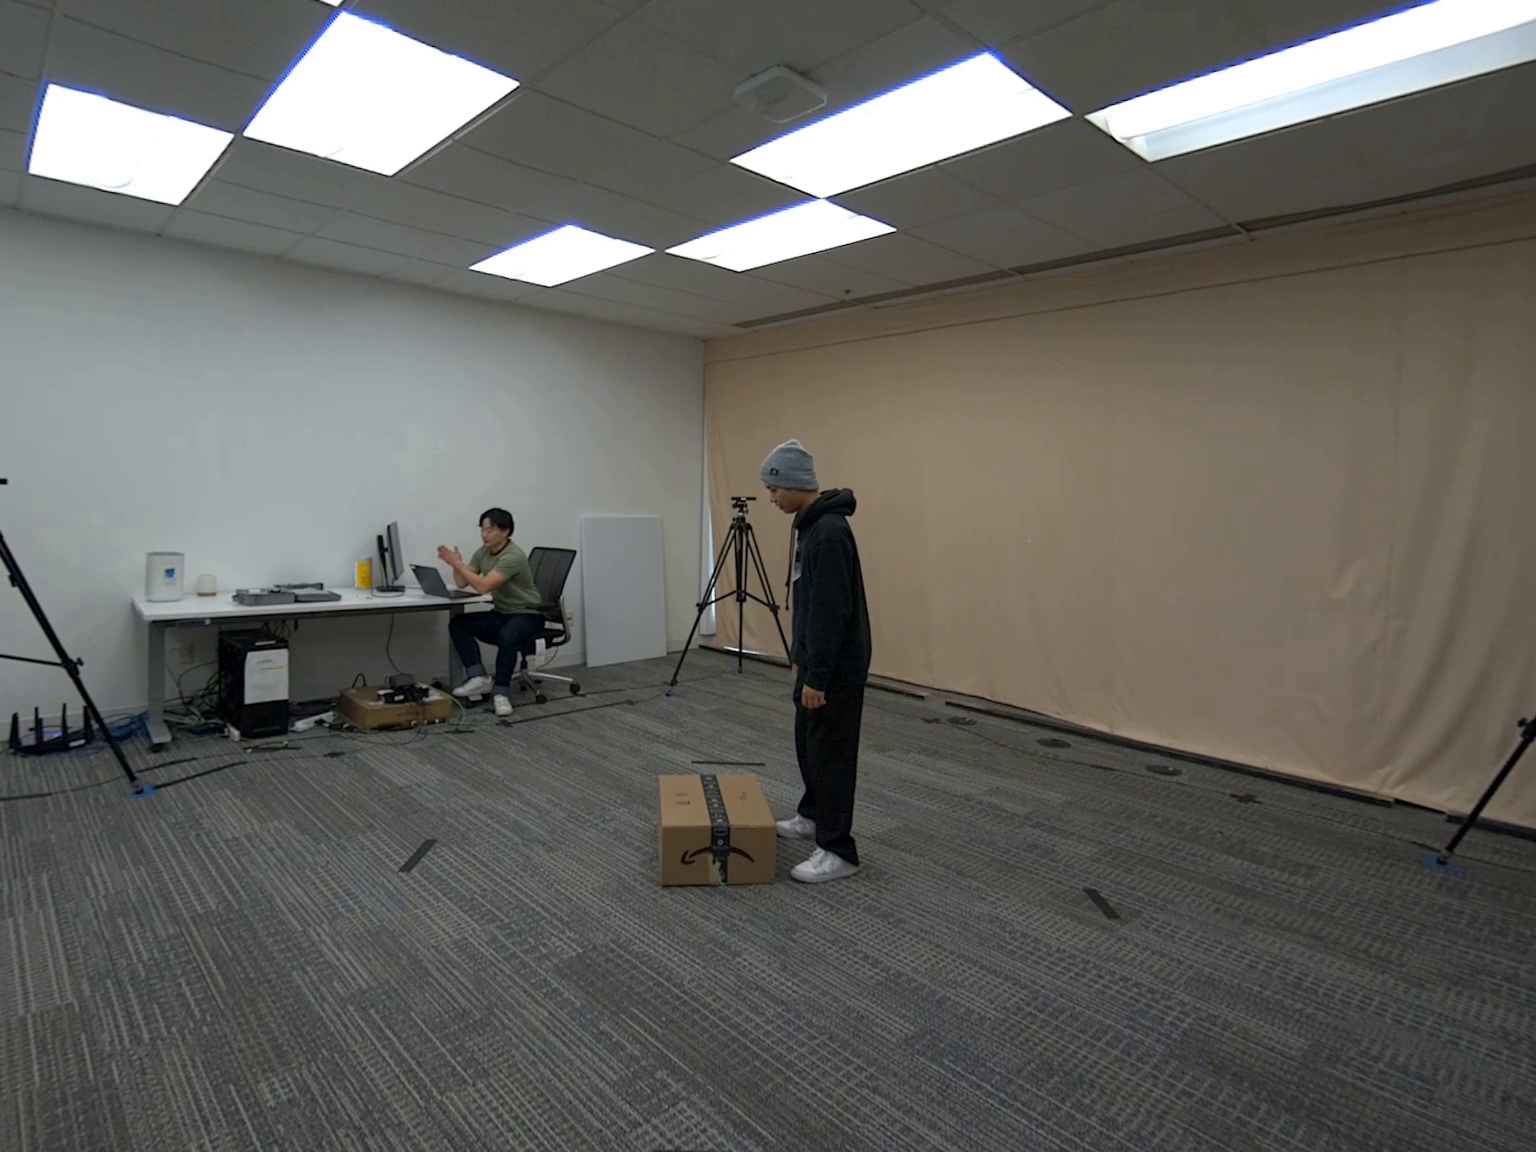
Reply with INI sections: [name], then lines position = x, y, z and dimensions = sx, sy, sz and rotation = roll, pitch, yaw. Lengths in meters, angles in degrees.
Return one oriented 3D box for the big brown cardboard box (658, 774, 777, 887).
[big brown cardboard box]
position = -0.224, 0.976, 3.295
dimensions = 0.415, 0.232, 0.594
rotation = 2, 4, -8
